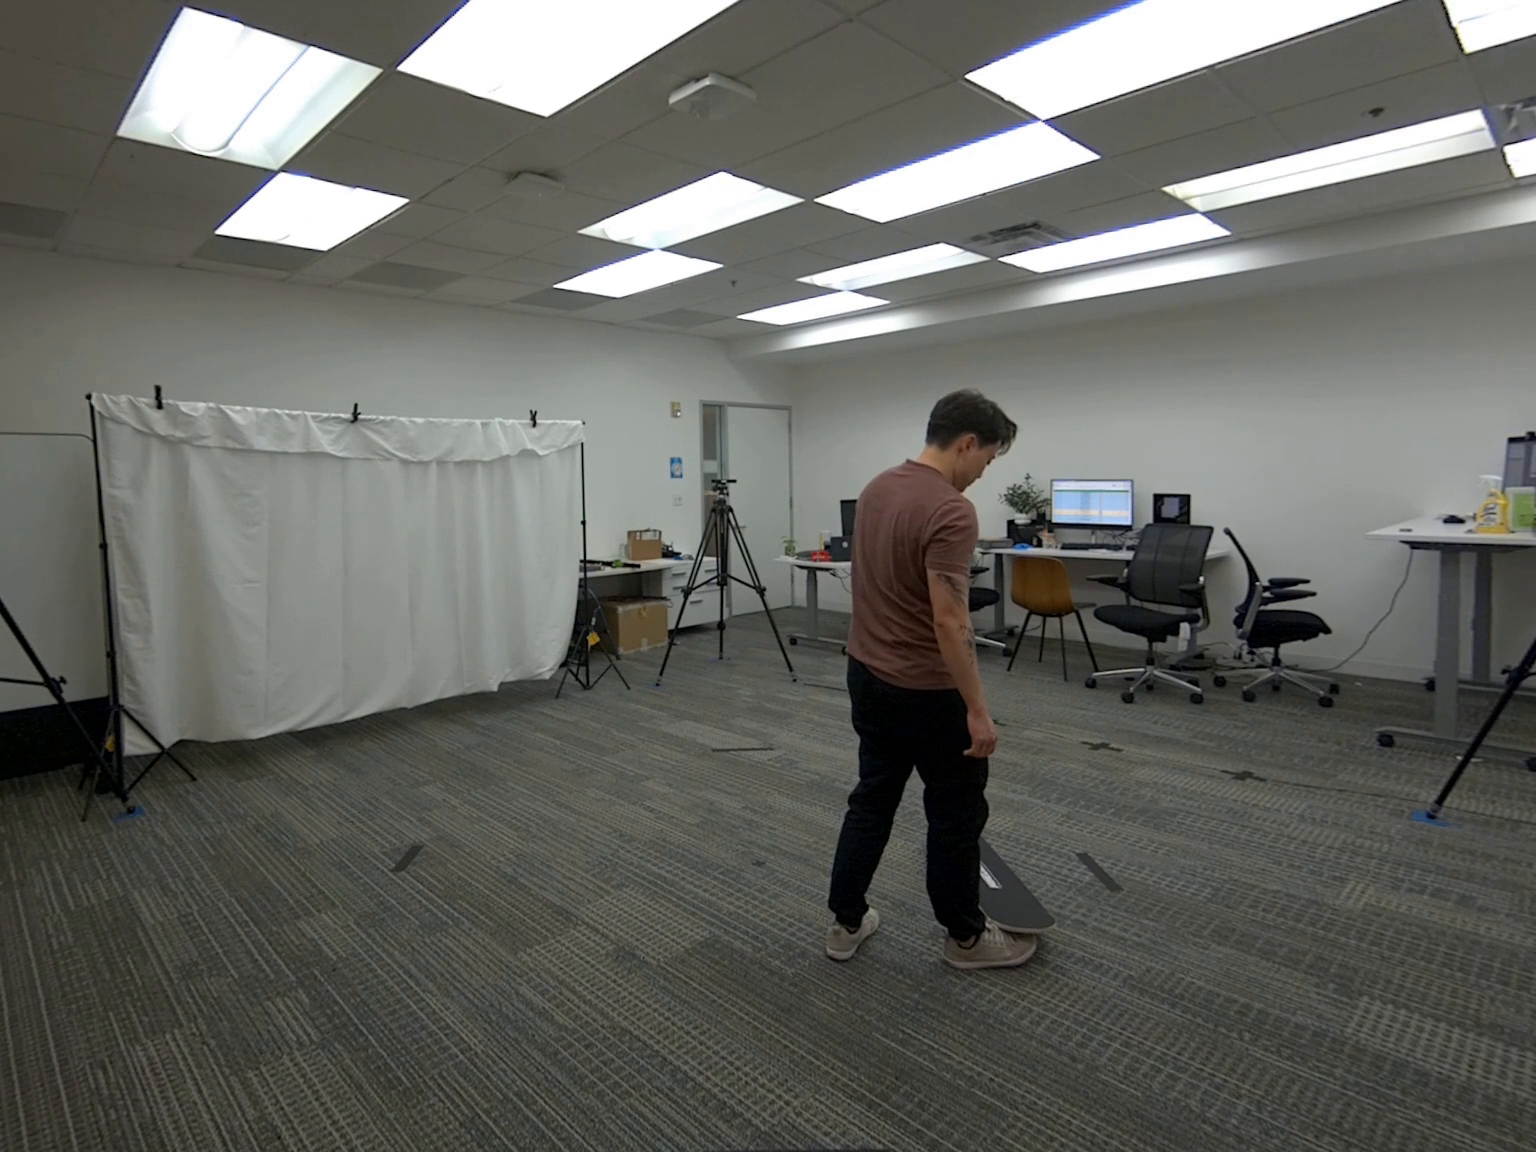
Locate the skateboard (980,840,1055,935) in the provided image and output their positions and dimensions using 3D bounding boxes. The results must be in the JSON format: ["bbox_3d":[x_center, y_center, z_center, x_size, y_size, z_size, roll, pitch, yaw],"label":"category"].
[{"bbox_3d":[0.717,1.008,2.816,0.193,0.110,0.793,-3,7,-5],"label":"skateboard"}]
